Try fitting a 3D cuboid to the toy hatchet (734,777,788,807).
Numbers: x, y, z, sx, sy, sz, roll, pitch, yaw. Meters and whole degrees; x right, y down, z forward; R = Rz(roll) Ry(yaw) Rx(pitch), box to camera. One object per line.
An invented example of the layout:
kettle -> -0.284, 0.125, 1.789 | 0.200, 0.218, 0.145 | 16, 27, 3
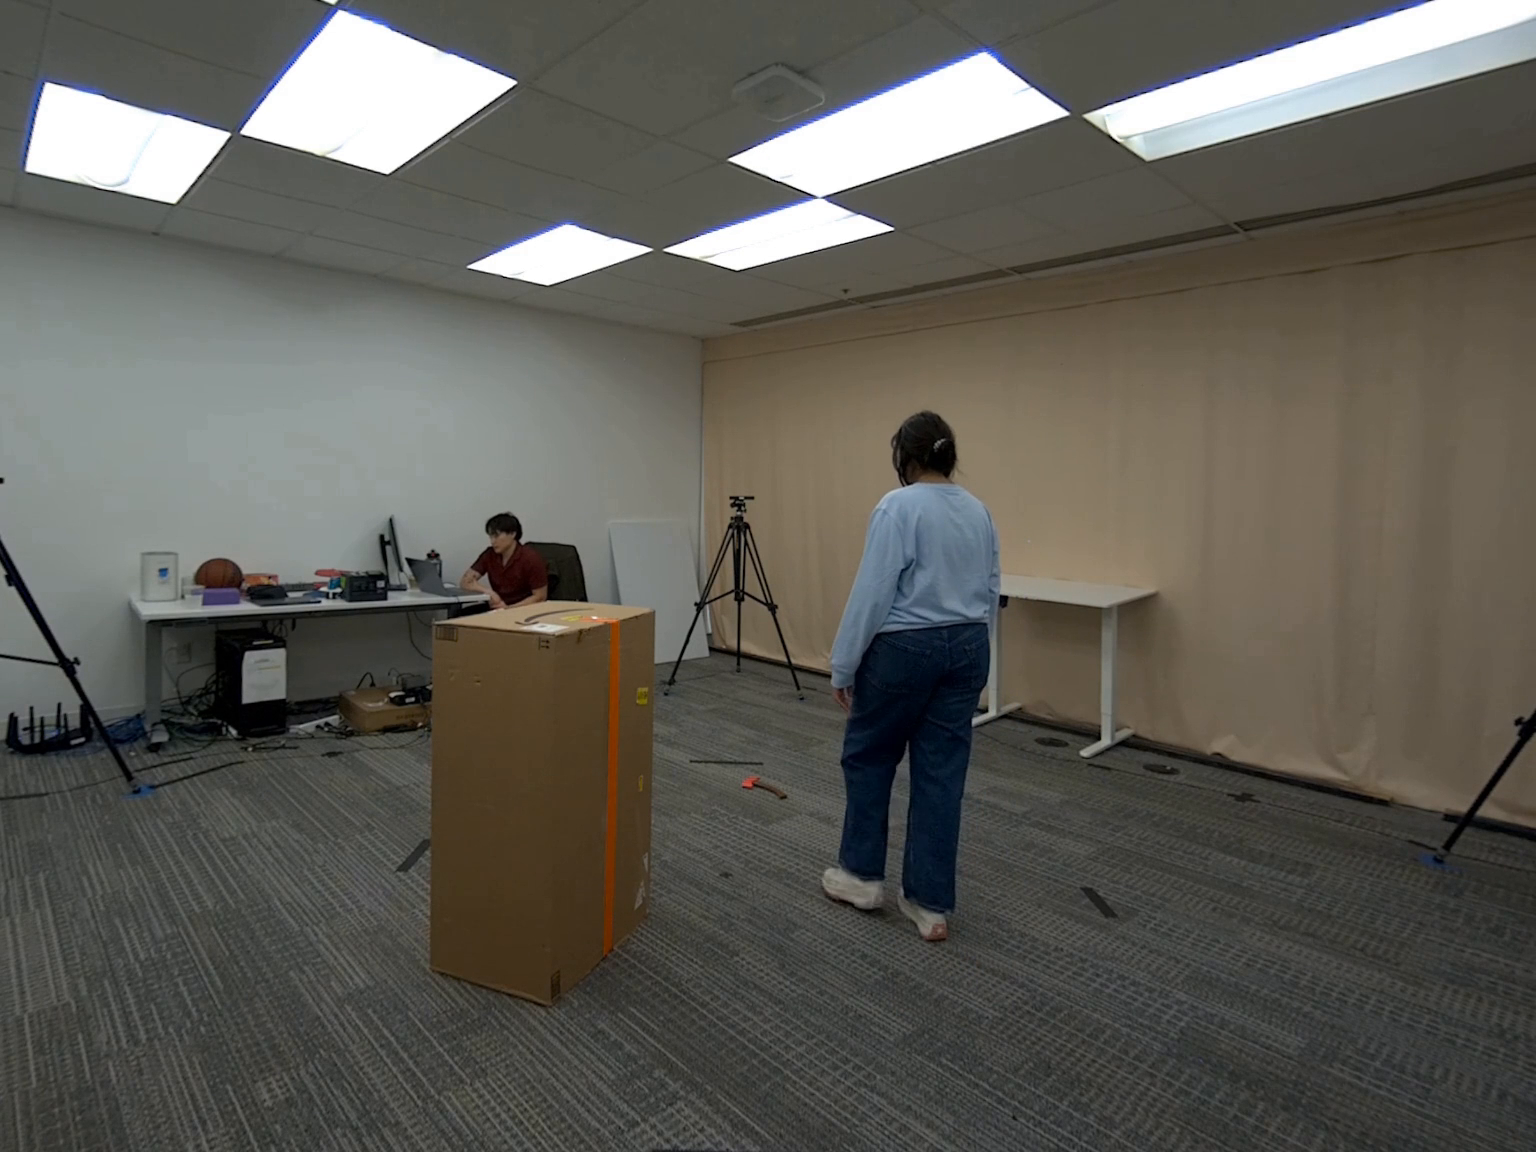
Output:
toy hatchet -> -0.038, 1.022, 4.025 | 0.128, 0.029, 0.276 | 0, 7, -29
